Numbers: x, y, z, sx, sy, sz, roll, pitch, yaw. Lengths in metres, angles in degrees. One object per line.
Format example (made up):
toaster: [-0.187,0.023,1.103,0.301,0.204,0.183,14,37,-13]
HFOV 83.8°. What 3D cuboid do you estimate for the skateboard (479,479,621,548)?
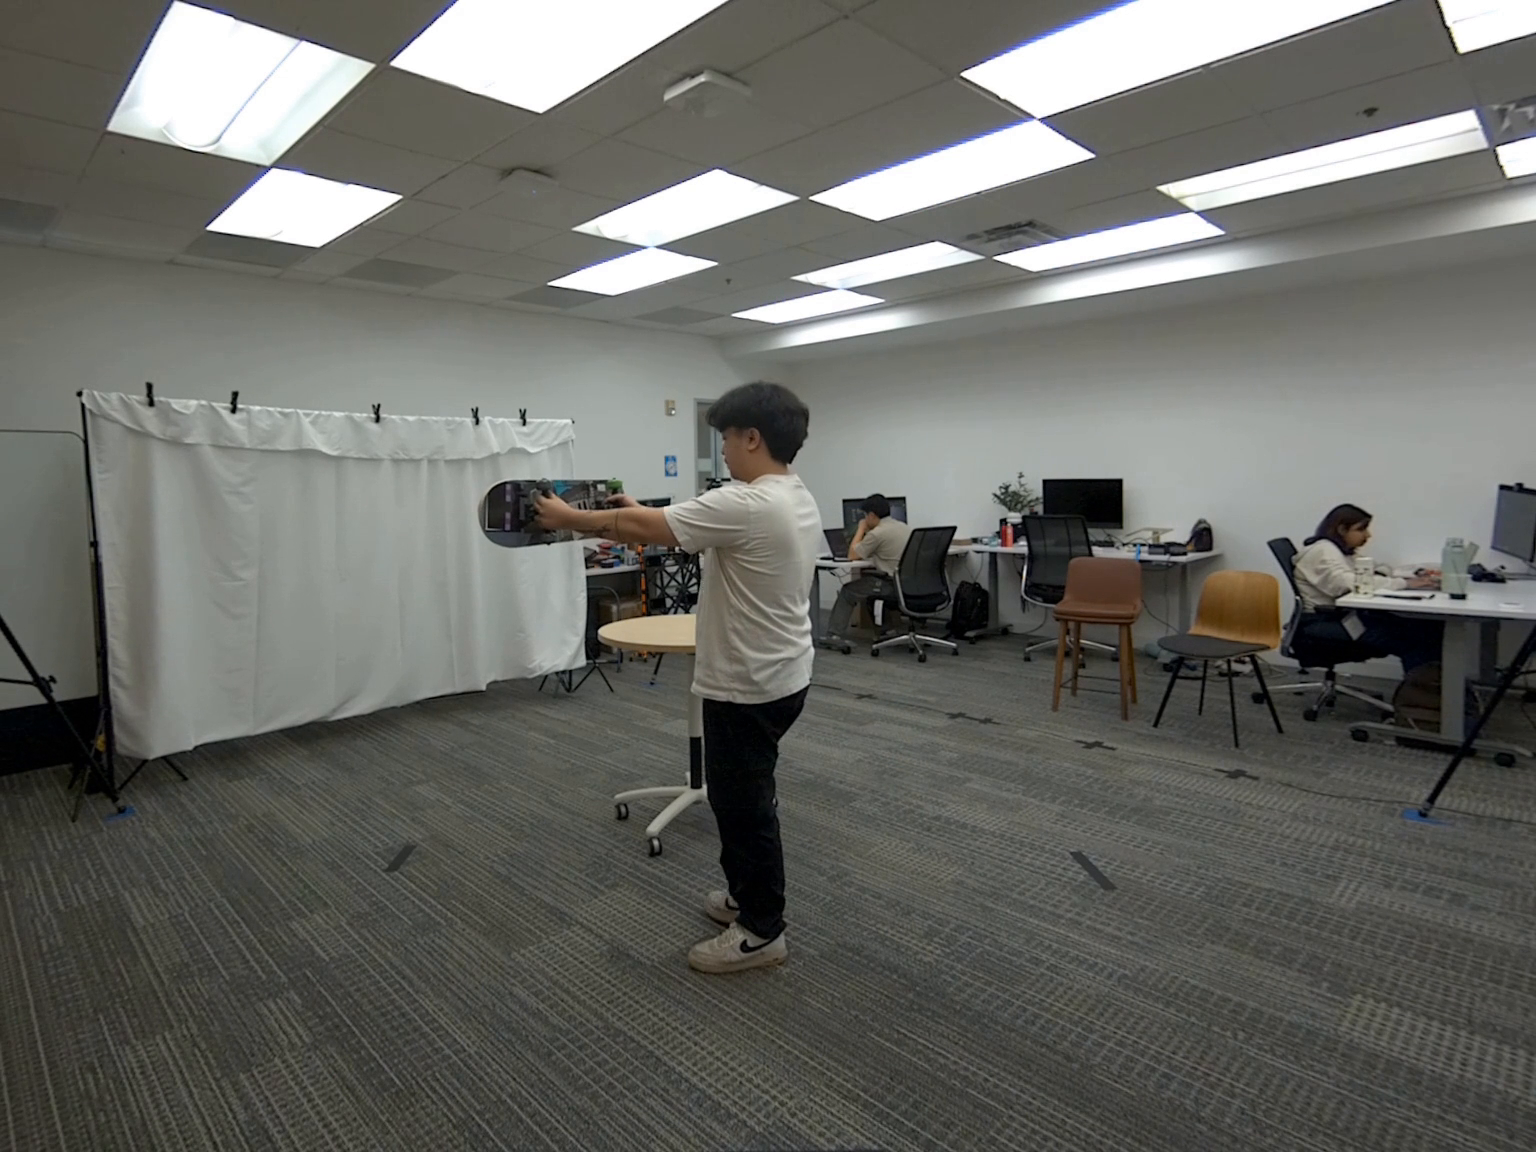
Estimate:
skateboard: [-0.597,-0.201,2.649,0.112,0.193,0.773,-6,4,20]
